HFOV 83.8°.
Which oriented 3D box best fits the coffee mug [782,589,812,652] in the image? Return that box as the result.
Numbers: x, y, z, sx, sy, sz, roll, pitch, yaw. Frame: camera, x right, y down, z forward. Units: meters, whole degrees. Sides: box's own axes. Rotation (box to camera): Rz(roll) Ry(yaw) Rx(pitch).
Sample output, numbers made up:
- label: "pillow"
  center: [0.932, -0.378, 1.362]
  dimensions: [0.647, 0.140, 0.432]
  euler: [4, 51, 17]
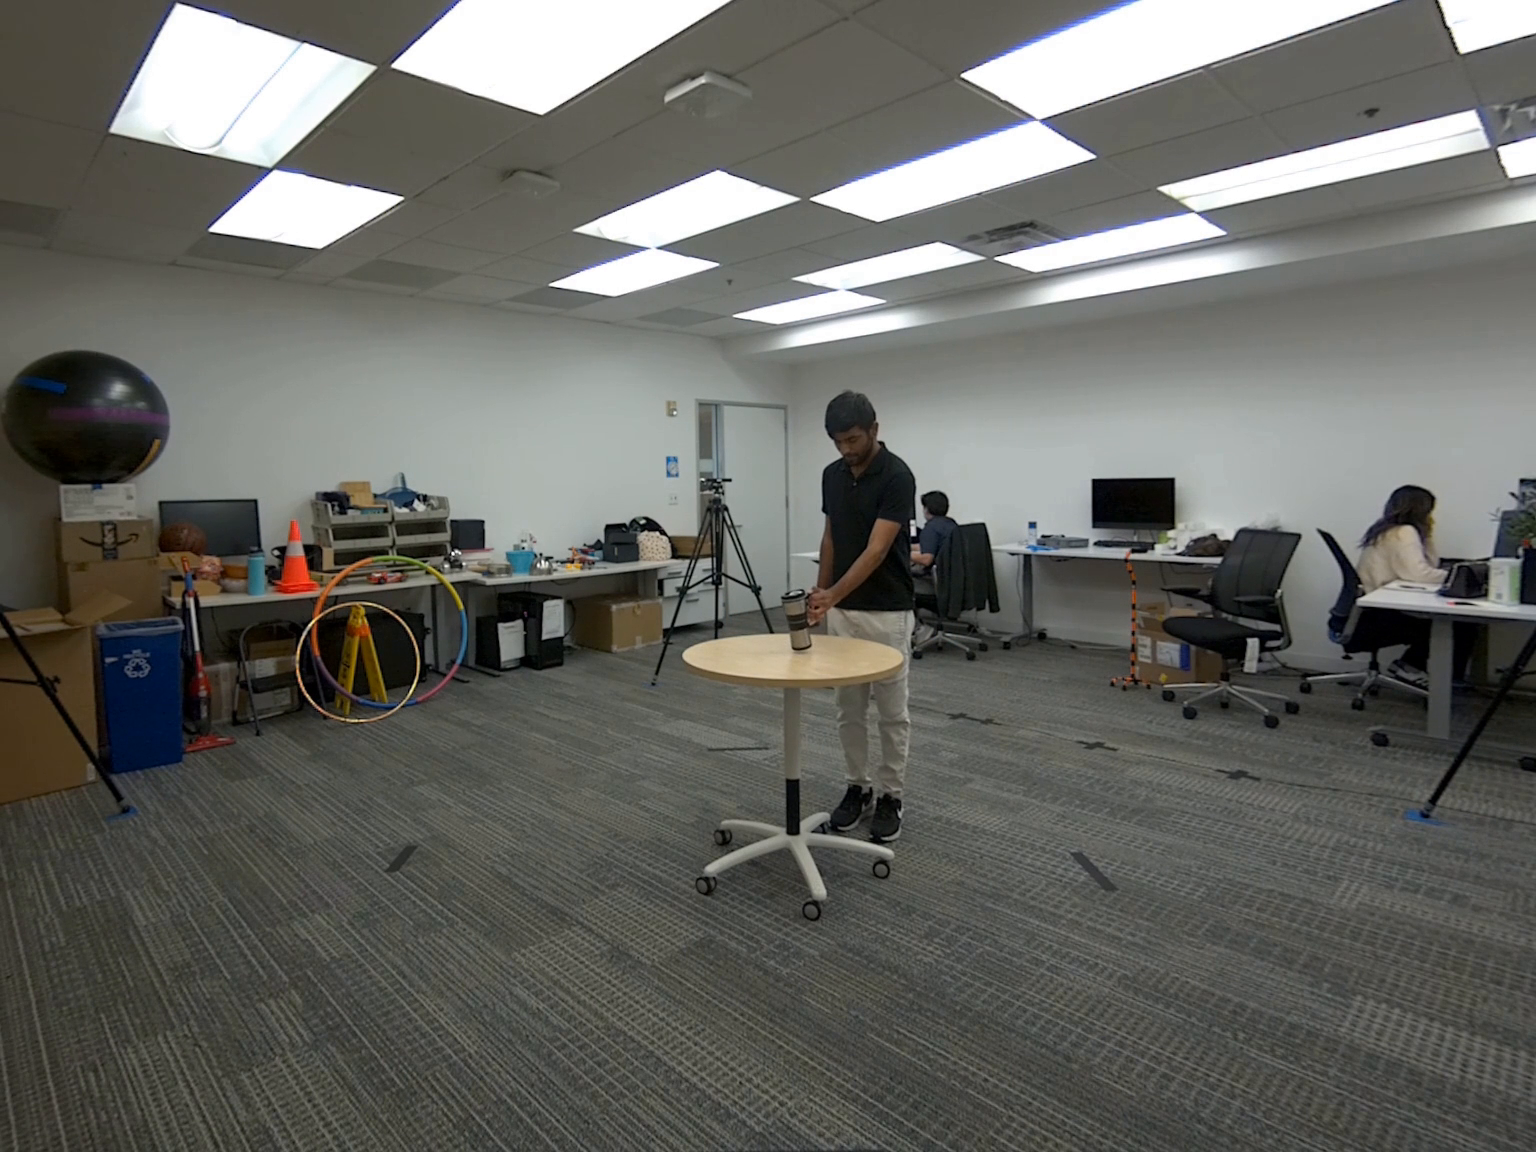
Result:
- label: "coffee mug"
  center: [0.117, 0.155, 2.981]
  dimensions: [0.124, 0.202, 0.086]
  euler: [-8, 7, 31]
